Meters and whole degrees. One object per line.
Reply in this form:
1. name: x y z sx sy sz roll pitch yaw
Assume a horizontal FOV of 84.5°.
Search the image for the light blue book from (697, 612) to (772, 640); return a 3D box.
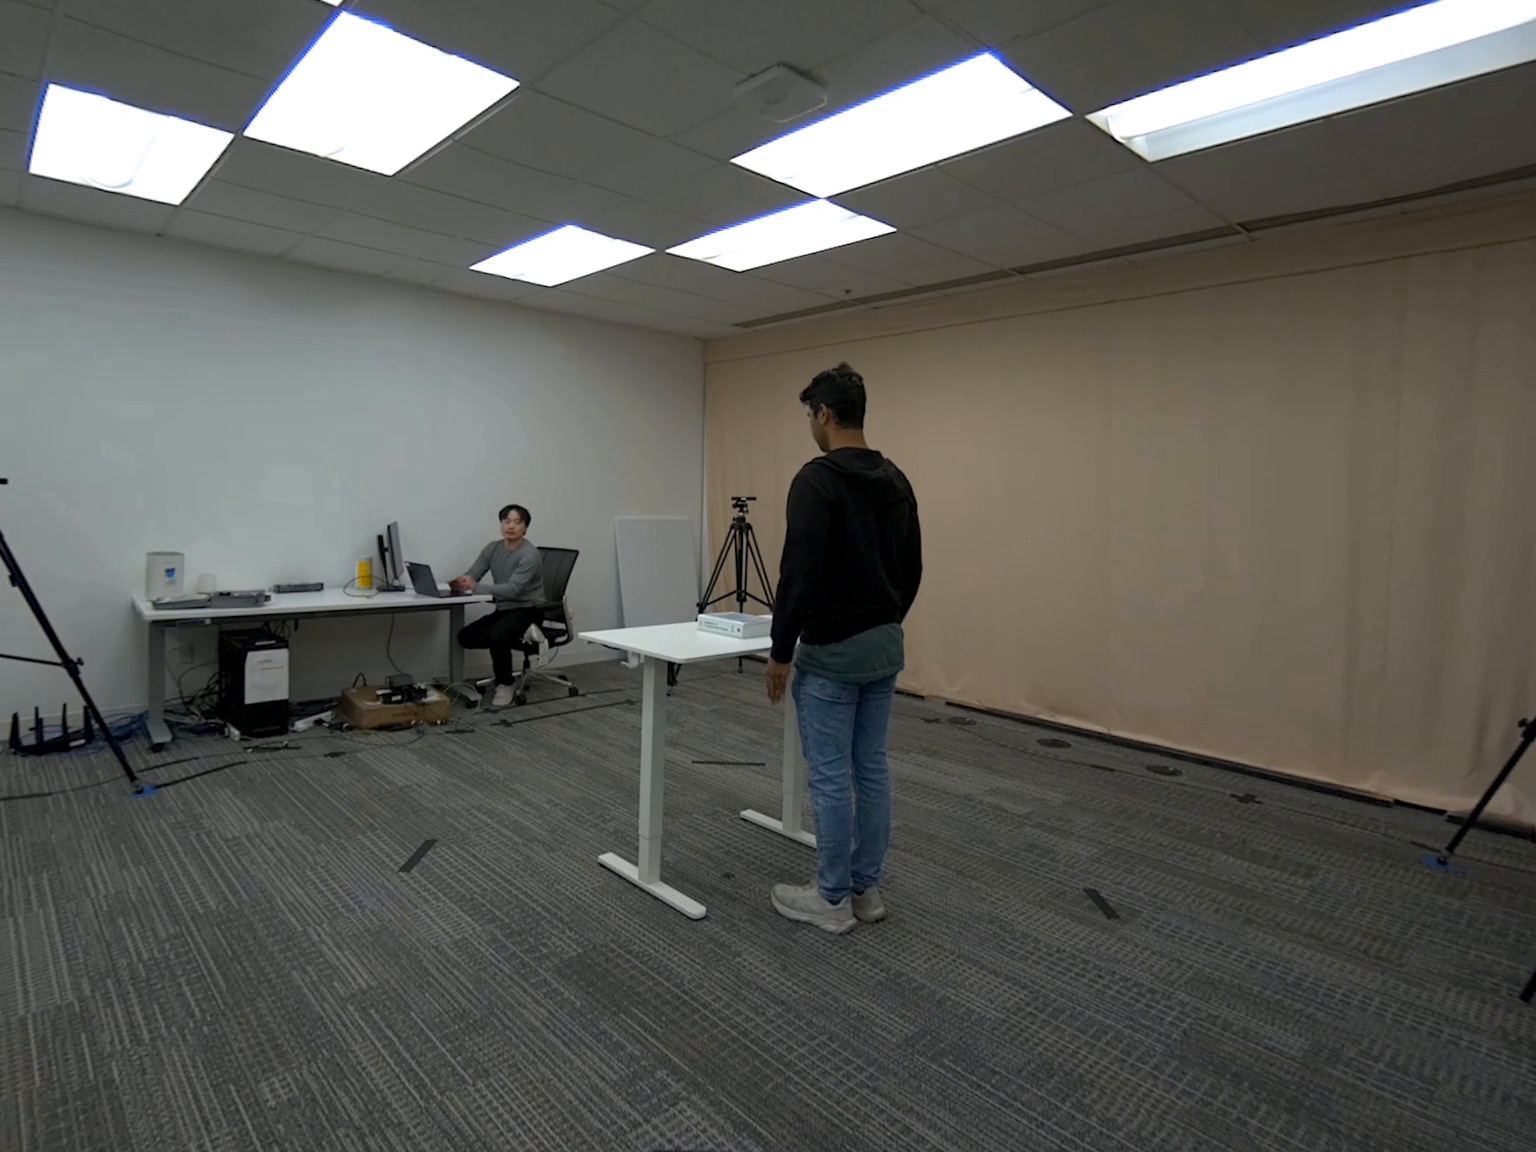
1. light blue book: -0.118 0.187 3.223 0.187 0.059 0.268 -4 8 -44
